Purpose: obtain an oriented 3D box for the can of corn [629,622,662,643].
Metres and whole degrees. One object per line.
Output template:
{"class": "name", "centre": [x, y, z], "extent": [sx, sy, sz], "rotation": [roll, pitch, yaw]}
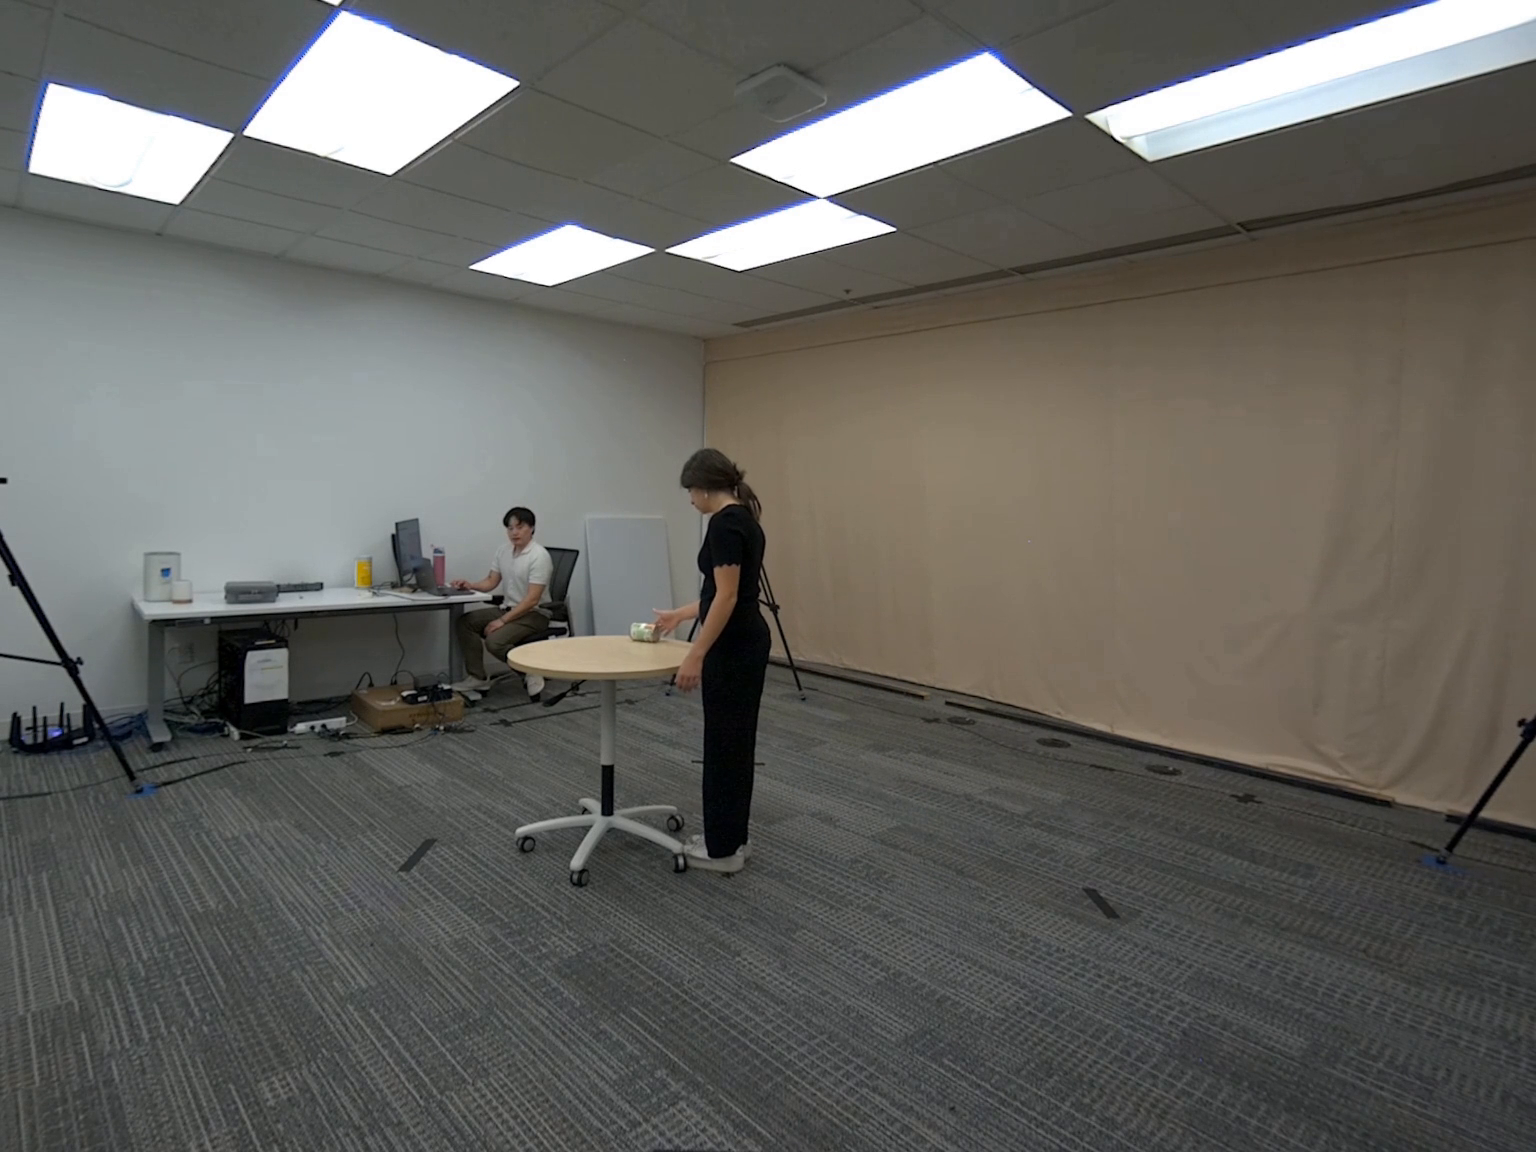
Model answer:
{"class": "can of corn", "centre": [-0.526, 0.236, 3.519], "extent": [0.113, 0.074, 0.073], "rotation": [3, 4, 21]}
